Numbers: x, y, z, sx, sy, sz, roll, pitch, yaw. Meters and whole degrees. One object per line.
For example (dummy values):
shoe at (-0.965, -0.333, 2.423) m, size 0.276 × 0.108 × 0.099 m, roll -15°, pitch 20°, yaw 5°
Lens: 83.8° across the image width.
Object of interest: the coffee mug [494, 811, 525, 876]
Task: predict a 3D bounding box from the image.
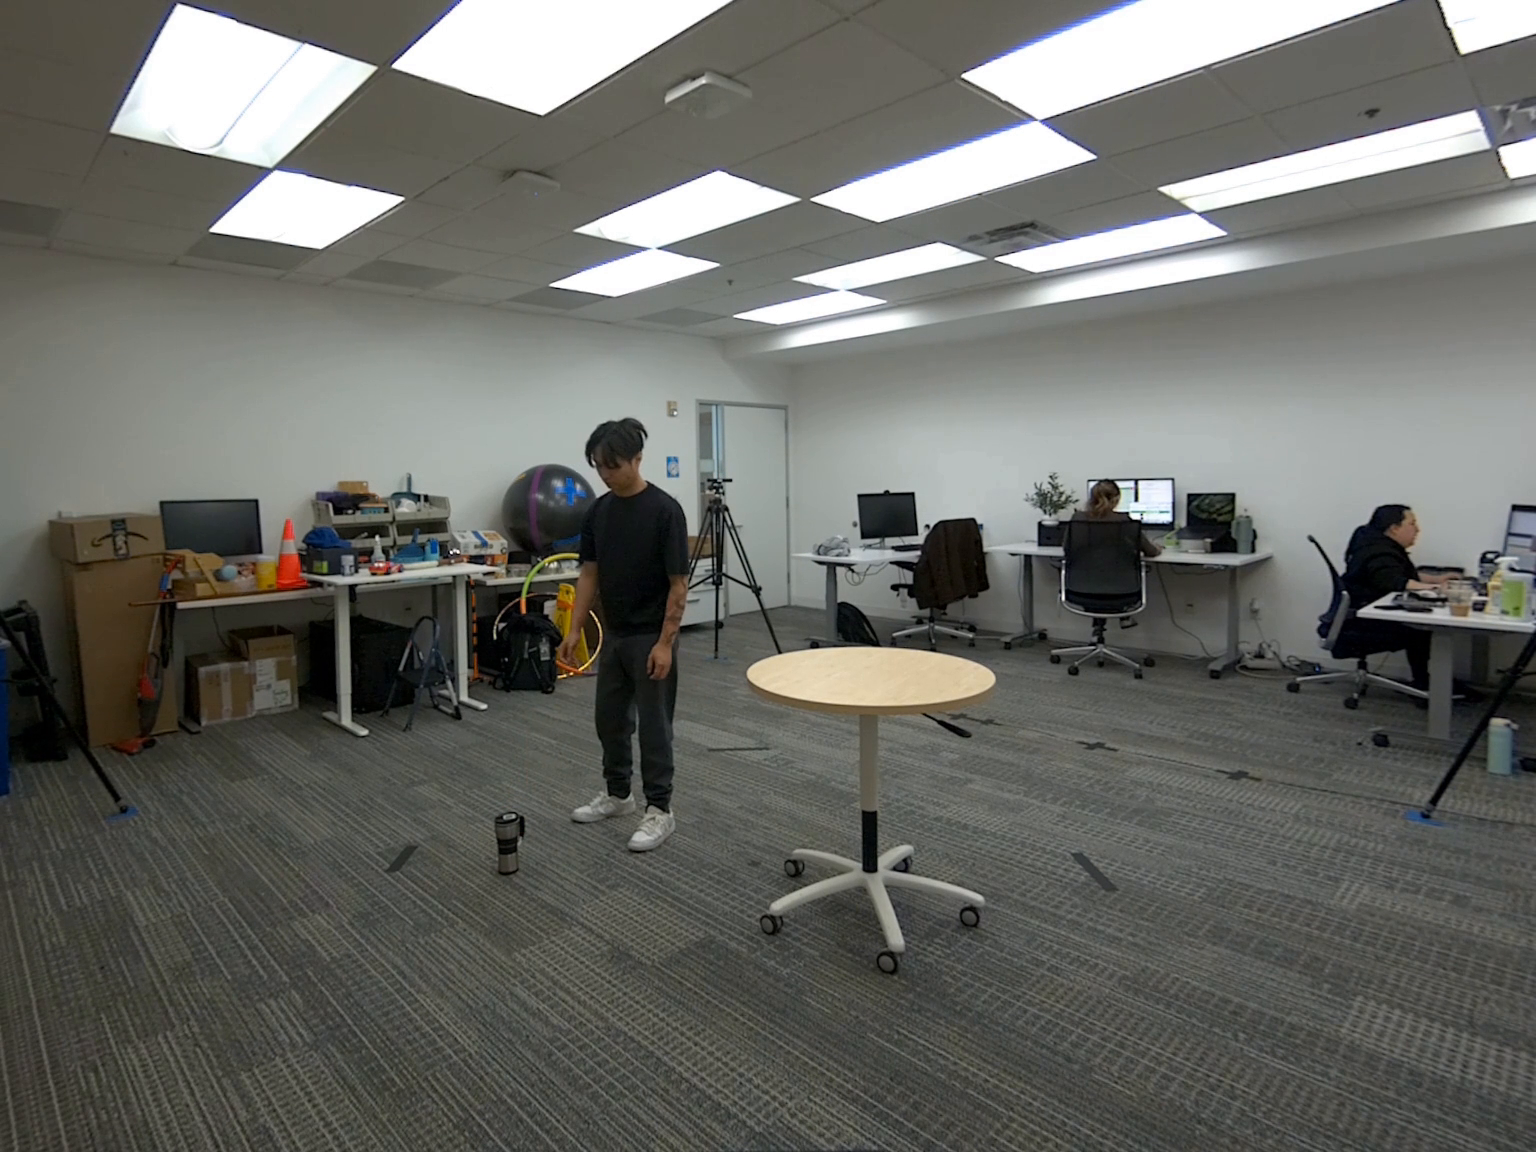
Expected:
coffee mug at (-0.917, 0.964, 3.091) m, size 0.119 × 0.202 × 0.090 m, roll -9°, pitch 5°, yaw -40°
